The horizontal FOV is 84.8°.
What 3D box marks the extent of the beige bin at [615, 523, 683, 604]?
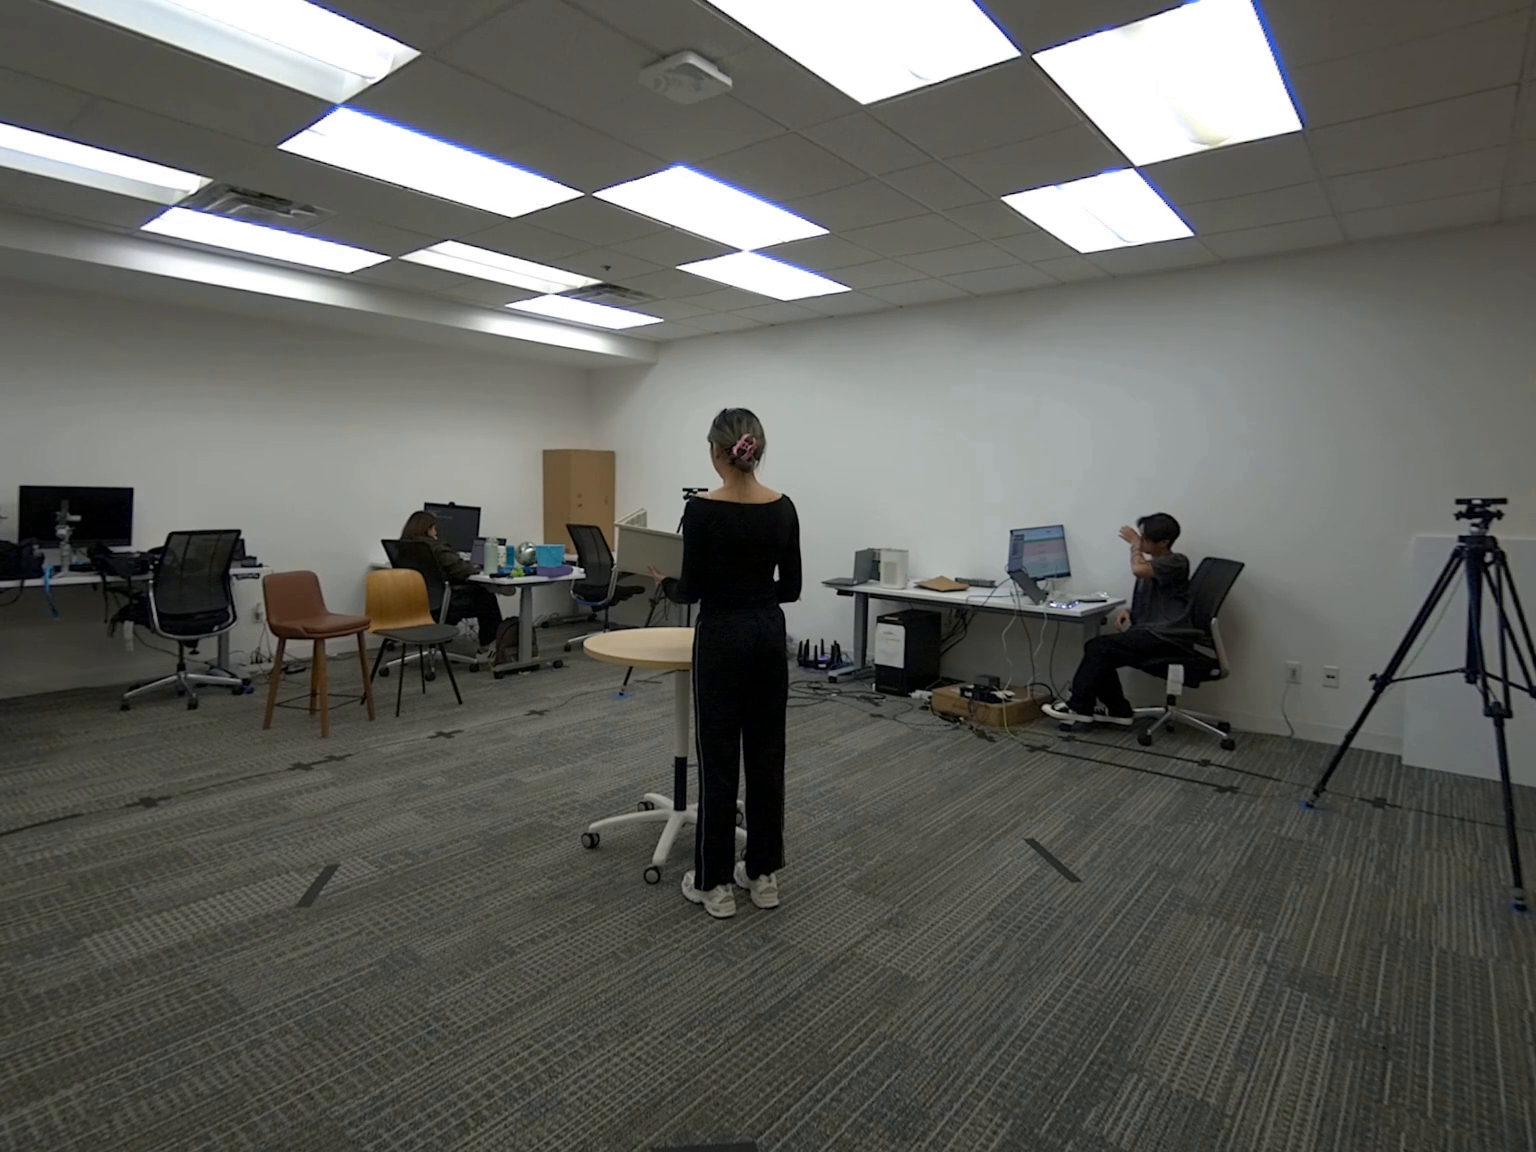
[{"bbox_3d":[-0.337,-0.113,3.184,0.427,0.186,0.378,11,17,7],"label":"beige bin"}]
